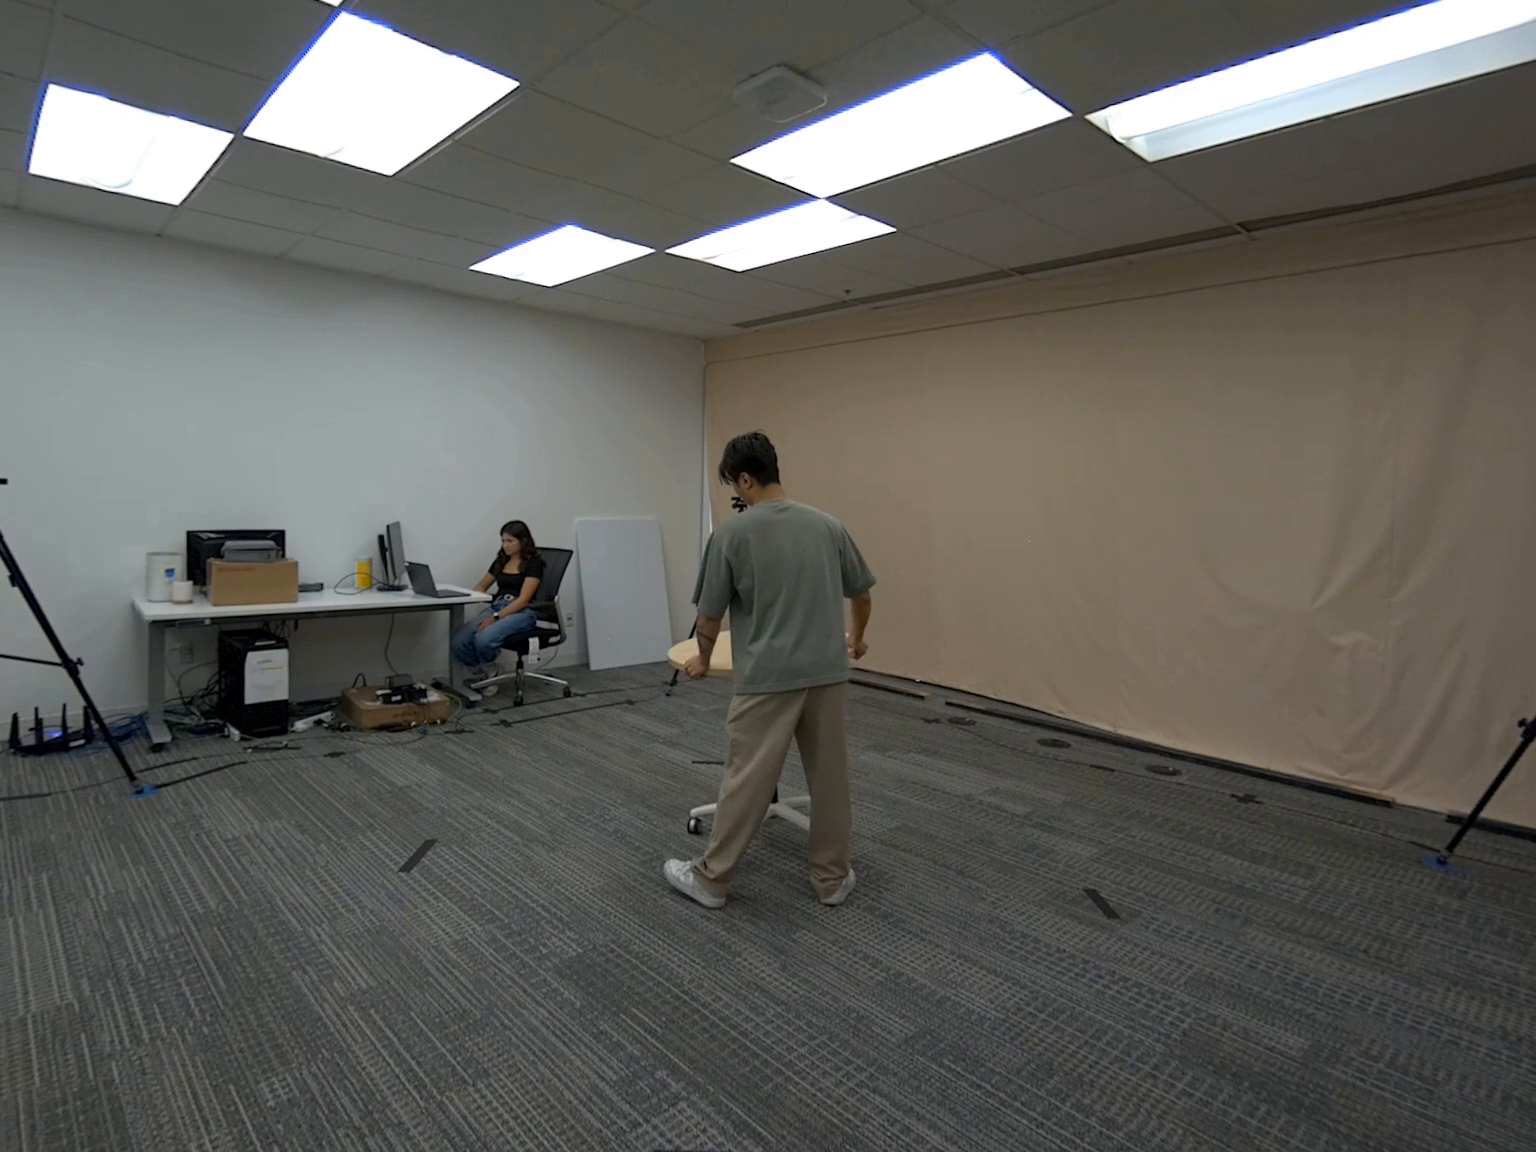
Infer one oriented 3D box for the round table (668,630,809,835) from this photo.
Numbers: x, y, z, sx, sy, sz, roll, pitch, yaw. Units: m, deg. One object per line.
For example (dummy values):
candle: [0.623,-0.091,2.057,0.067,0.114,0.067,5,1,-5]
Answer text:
round table: [-0.015,0.671,3.413,0.785,0.783,0.789,-3,6,-1]
